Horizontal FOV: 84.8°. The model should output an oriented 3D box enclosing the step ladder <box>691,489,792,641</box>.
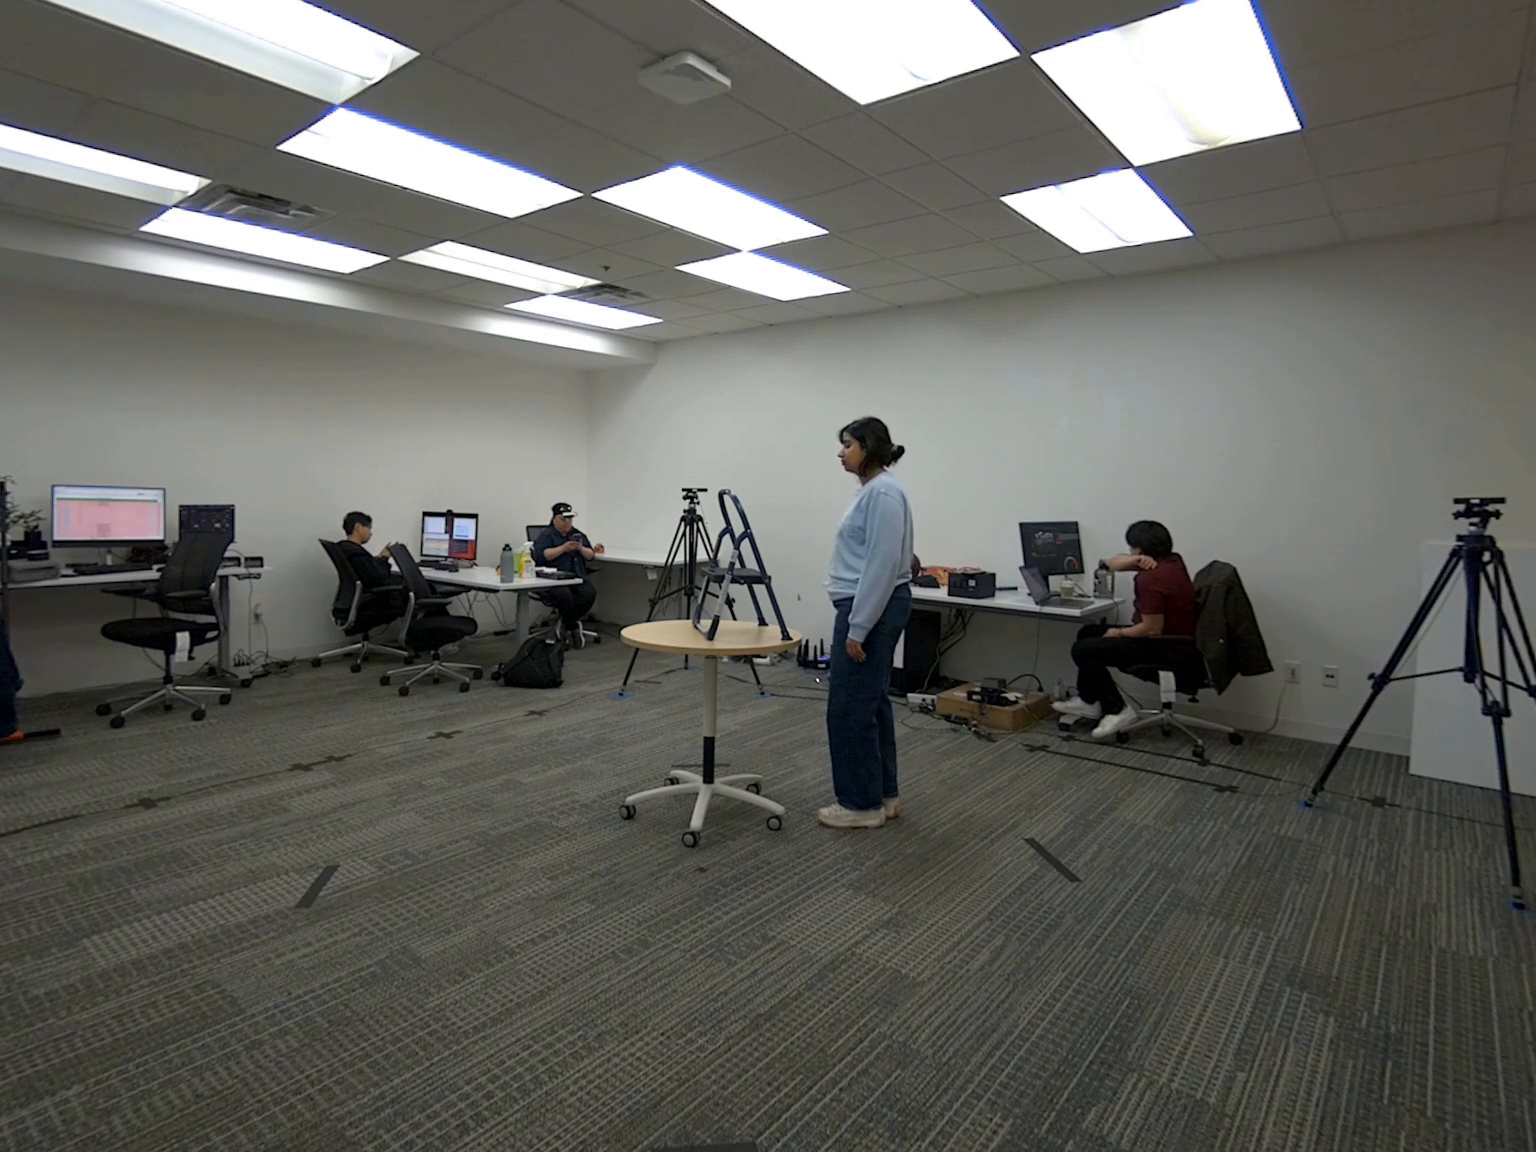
[{"bbox_3d":[-0.122,-0.065,3.621,0.344,0.605,0.438,2,3,-14],"label":"step ladder"}]
